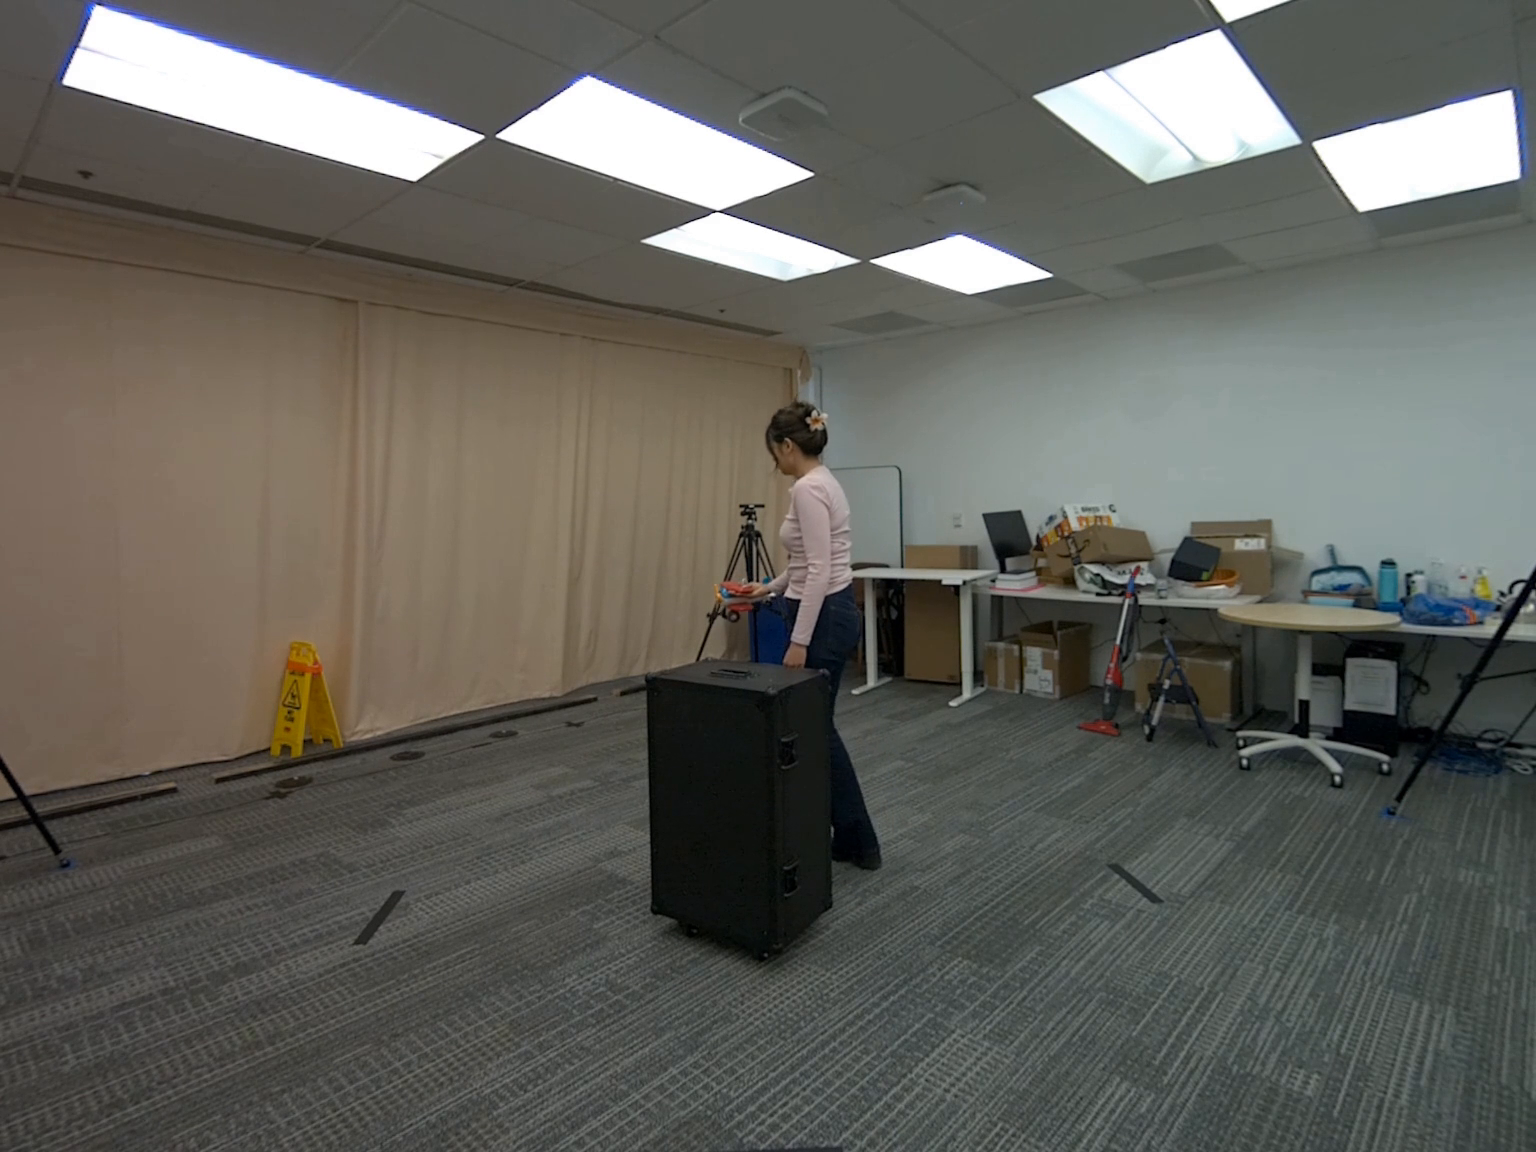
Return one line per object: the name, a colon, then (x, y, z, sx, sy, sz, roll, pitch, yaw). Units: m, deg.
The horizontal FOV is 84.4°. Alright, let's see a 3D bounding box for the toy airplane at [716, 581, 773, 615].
toy airplane: (-0.100, 0.096, 3.686, 0.259, 0.155, 0.254, -2, 19, 42)
